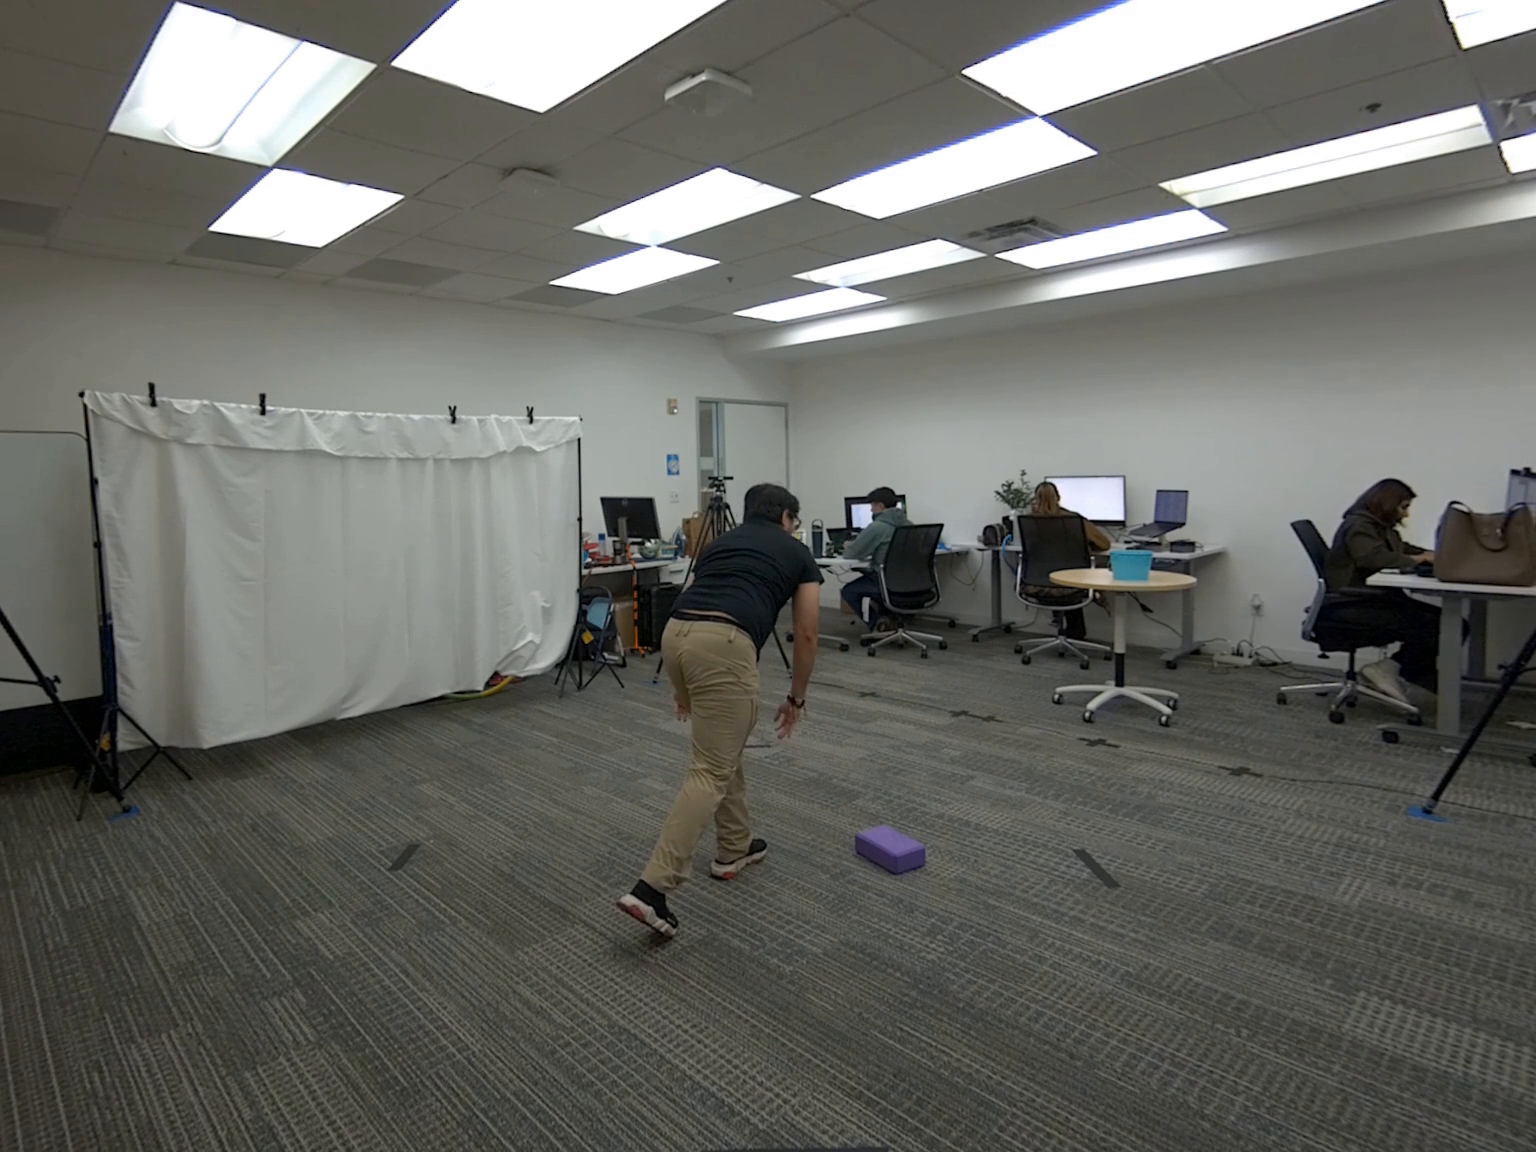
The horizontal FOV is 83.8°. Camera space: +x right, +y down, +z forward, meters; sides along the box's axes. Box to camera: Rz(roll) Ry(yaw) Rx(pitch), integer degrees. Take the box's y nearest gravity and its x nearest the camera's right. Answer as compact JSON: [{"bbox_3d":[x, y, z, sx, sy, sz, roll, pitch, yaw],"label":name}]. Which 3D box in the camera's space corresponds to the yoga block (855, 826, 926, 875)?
[{"bbox_3d":[0.443,0.982,3.098,0.145,0.076,0.236,-5,7,-32],"label":"yoga block"}]
